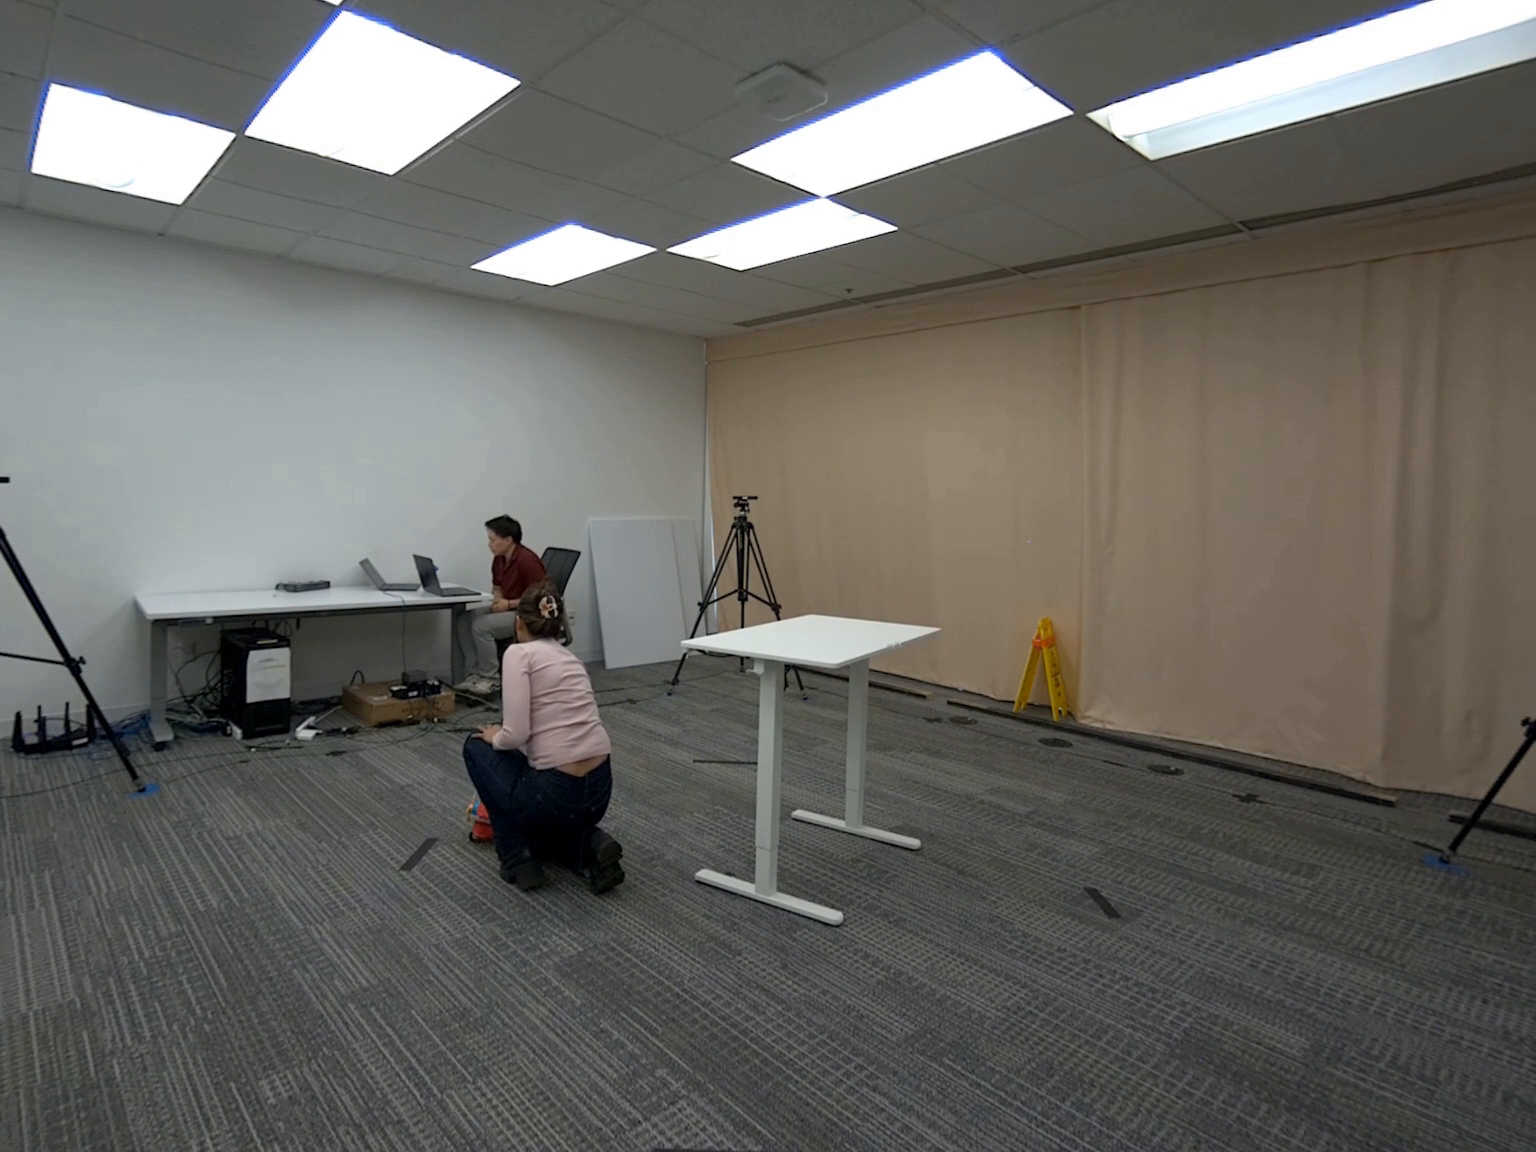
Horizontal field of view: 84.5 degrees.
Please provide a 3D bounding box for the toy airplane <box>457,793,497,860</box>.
[{"bbox_3d":[-1.087,0.982,3.404,0.254,0.156,0.257,-4,8,-31],"label":"toy airplane"}]
